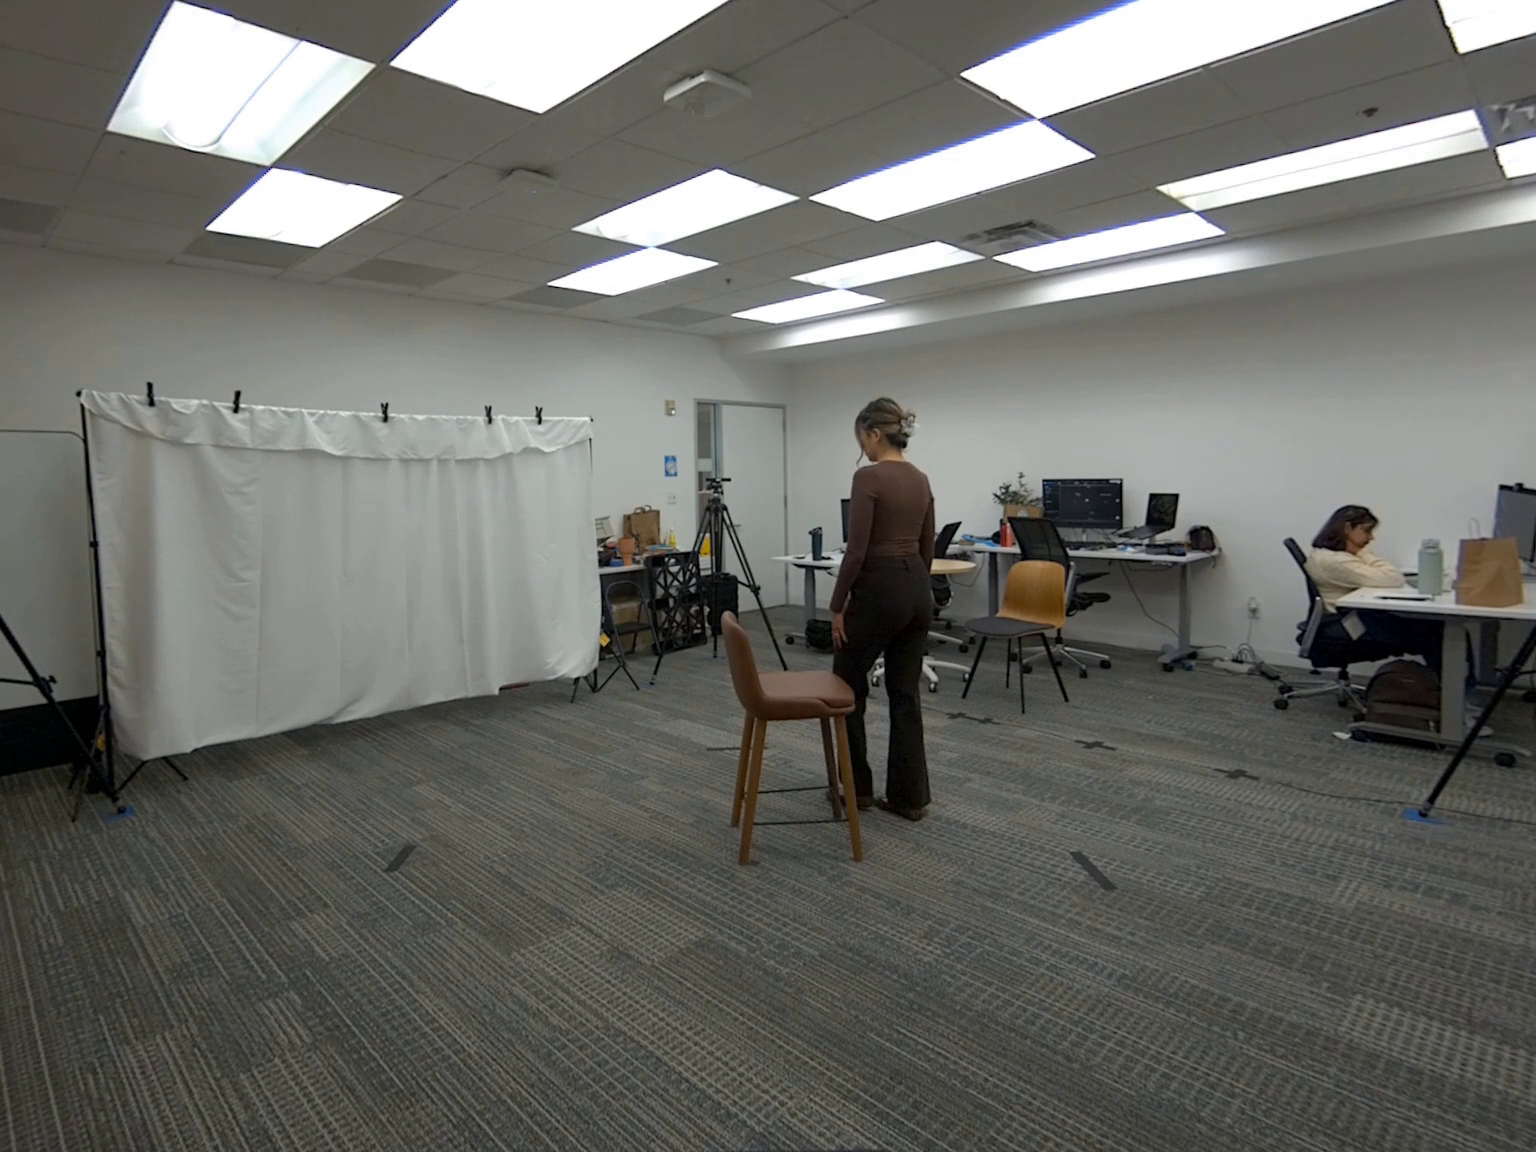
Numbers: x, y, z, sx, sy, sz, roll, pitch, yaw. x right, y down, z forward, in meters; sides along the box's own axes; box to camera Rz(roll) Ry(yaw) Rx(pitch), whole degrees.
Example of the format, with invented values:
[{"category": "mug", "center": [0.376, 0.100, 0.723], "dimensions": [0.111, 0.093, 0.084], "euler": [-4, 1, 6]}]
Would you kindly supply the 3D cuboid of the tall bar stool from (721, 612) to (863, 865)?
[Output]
[{"category": "tall bar stool", "center": [0.087, 0.589, 3.260], "dimensions": [0.465, 0.886, 0.461], "euler": [-2, 4, -6]}]
